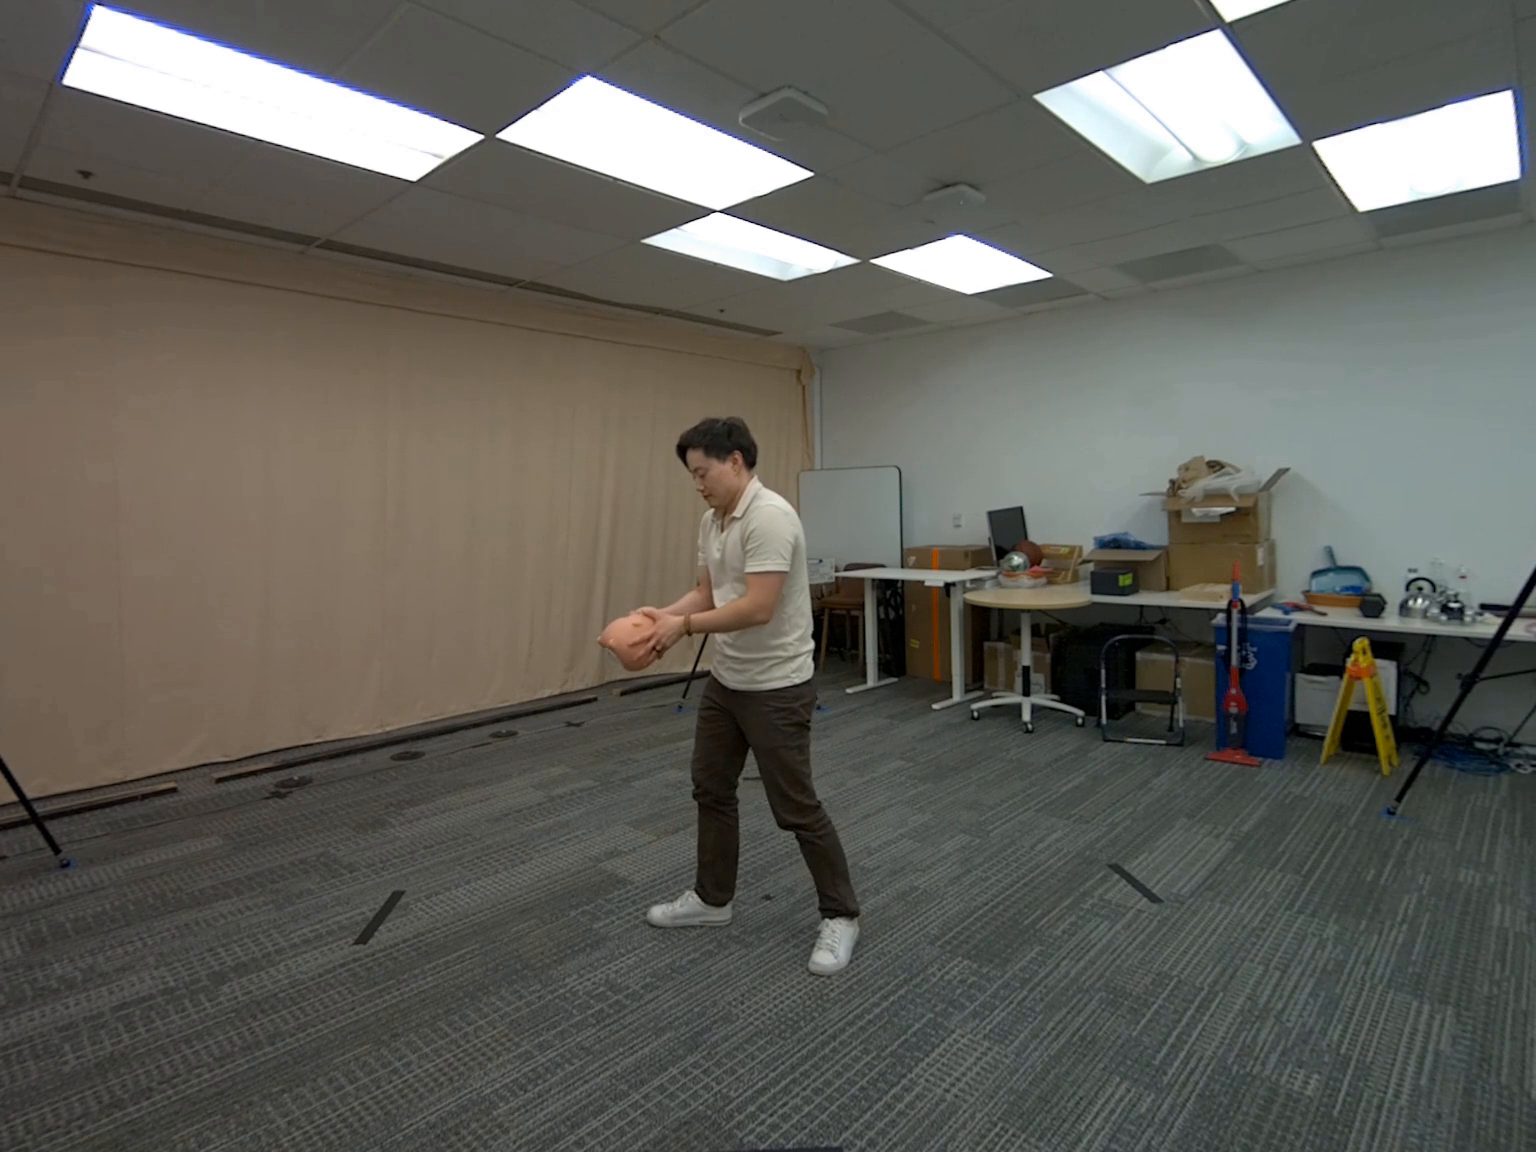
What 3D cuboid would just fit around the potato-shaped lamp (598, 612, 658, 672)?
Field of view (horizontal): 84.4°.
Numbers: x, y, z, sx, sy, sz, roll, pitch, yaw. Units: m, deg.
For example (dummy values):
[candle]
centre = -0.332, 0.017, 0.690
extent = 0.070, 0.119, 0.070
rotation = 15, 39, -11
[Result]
[potato-shaped lamp]
centre = -0.380, 0.187, 2.506
extent = 0.197, 0.168, 0.169
rotation = -47, 20, -20
